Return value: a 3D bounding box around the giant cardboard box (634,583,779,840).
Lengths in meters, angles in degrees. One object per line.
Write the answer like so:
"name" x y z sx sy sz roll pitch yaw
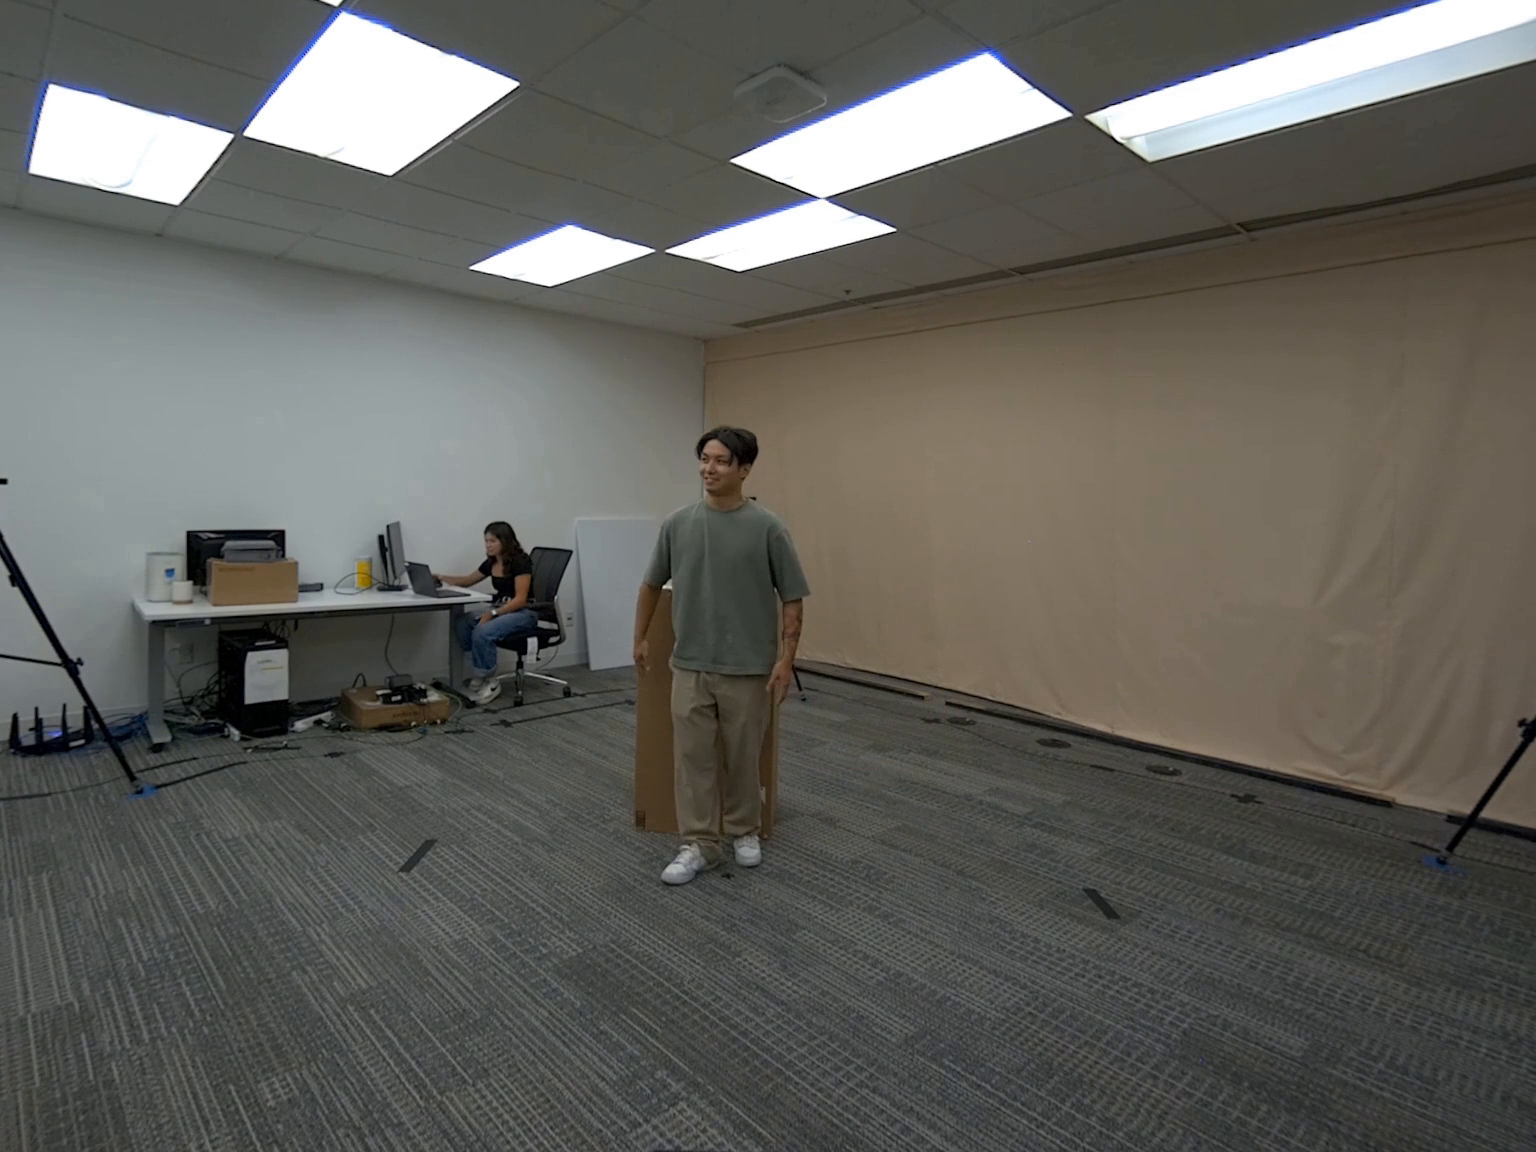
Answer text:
"giant cardboard box" -0.254 0.545 3.660 0.580 1.023 0.425 2 4 5
